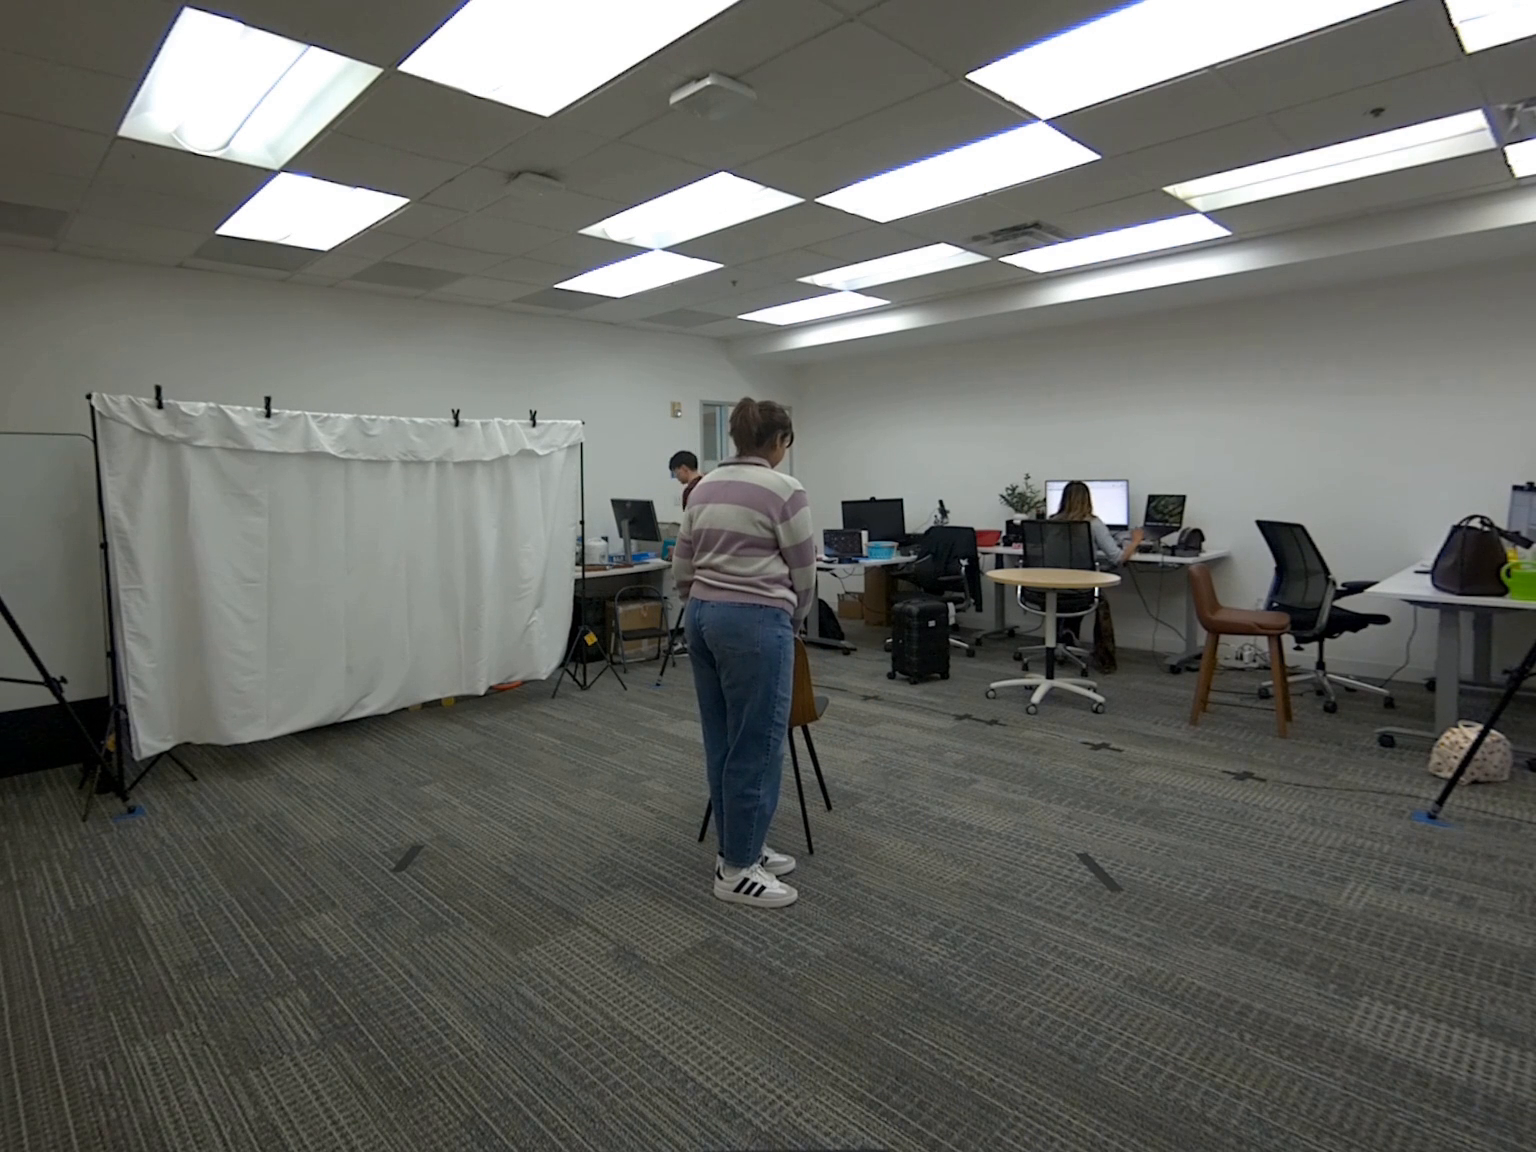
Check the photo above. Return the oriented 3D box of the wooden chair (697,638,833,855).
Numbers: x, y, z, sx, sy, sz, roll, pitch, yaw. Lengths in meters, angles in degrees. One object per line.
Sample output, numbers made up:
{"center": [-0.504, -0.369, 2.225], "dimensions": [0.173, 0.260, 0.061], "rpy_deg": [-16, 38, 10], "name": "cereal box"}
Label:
{"center": [-0.001, 0.581, 3.429], "dimensions": [0.485, 0.871, 0.519], "rpy_deg": [0, 8, 15], "name": "wooden chair"}
